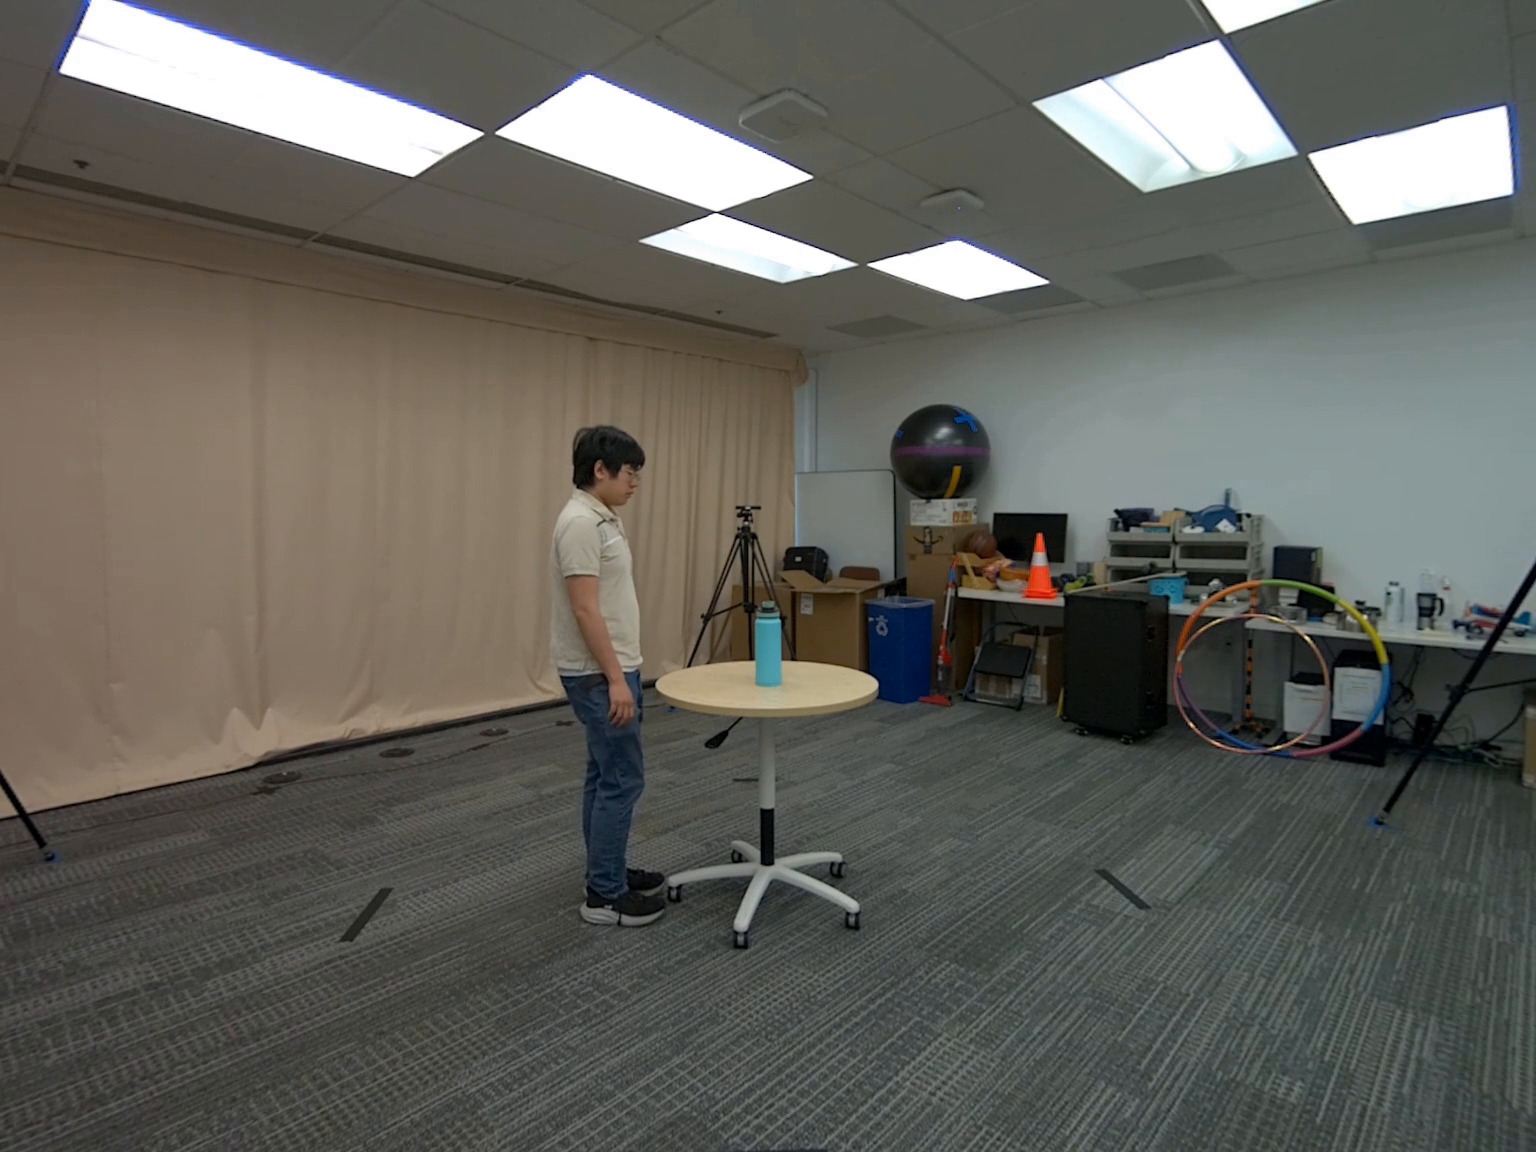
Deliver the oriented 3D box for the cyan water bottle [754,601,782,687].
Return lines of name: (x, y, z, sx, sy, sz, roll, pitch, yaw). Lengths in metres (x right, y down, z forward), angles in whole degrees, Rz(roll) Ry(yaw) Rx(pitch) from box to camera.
cyan water bottle: (0.002, 0.231, 2.872, 0.092, 0.283, 0.092, -2, 1, -2)
